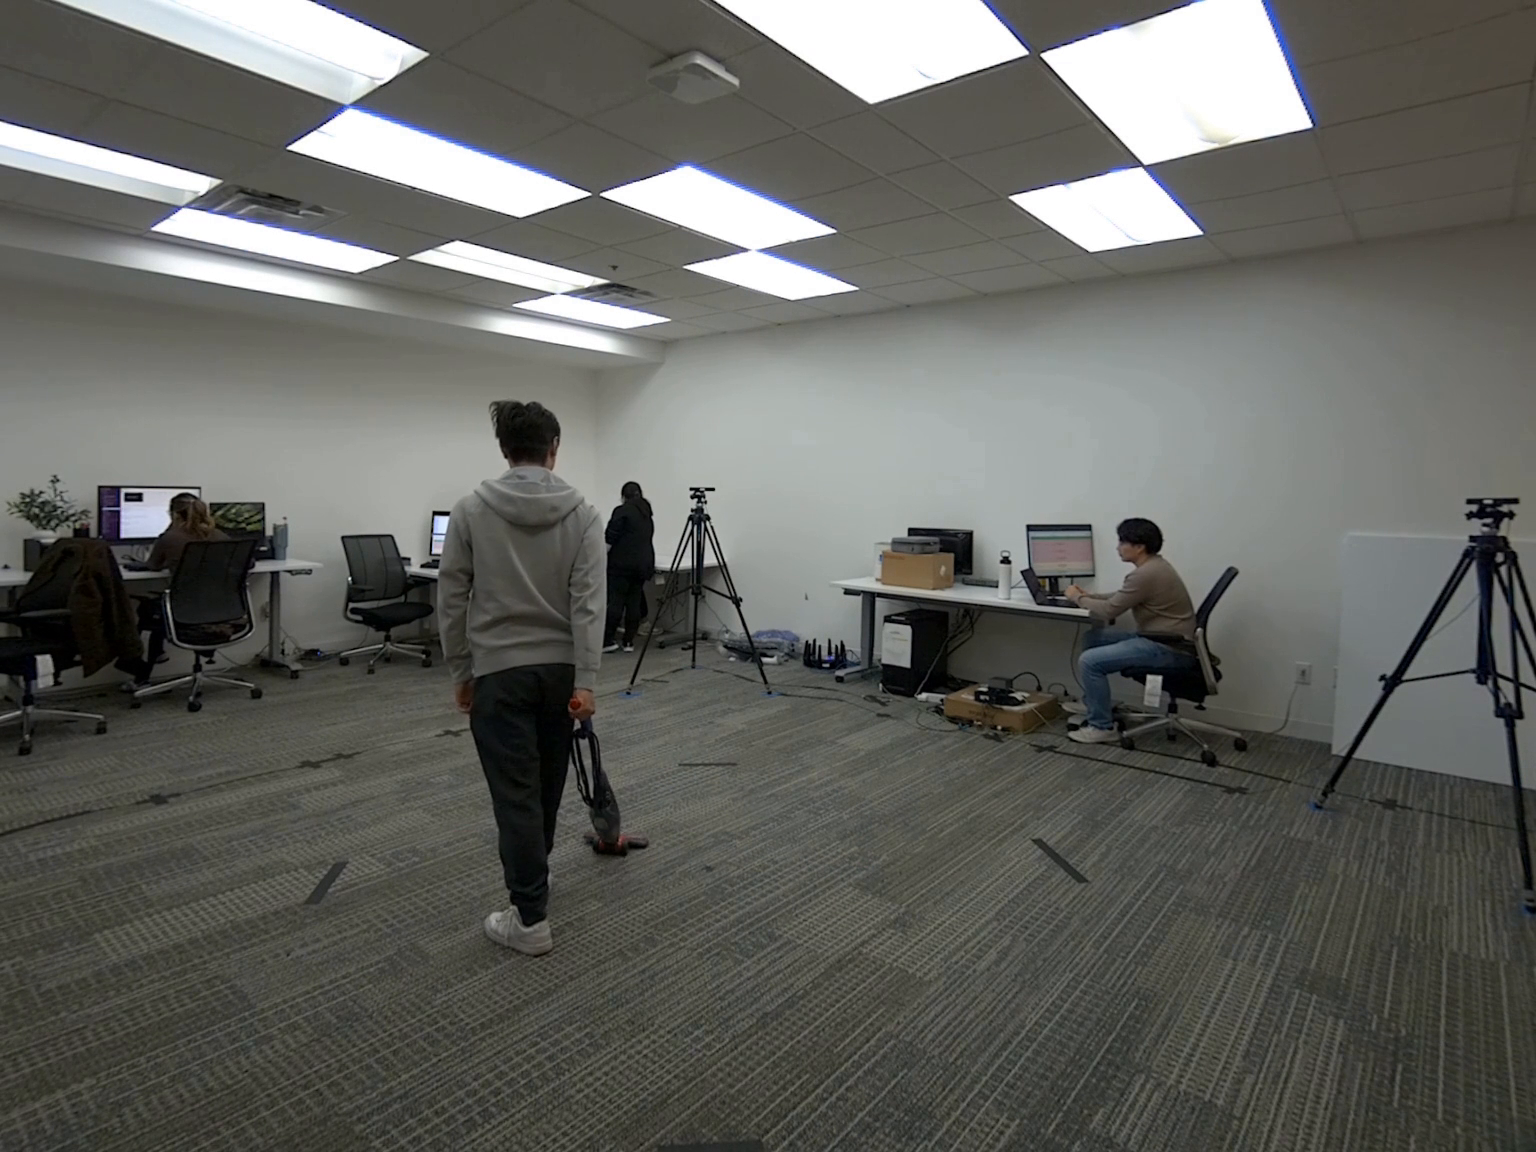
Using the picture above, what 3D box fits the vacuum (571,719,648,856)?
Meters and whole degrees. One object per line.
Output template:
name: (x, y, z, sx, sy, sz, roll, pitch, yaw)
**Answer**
vacuum: (-0.588, 0.708, 2.899, 0.254, 0.147, 1.020, 8, -40, 5)
